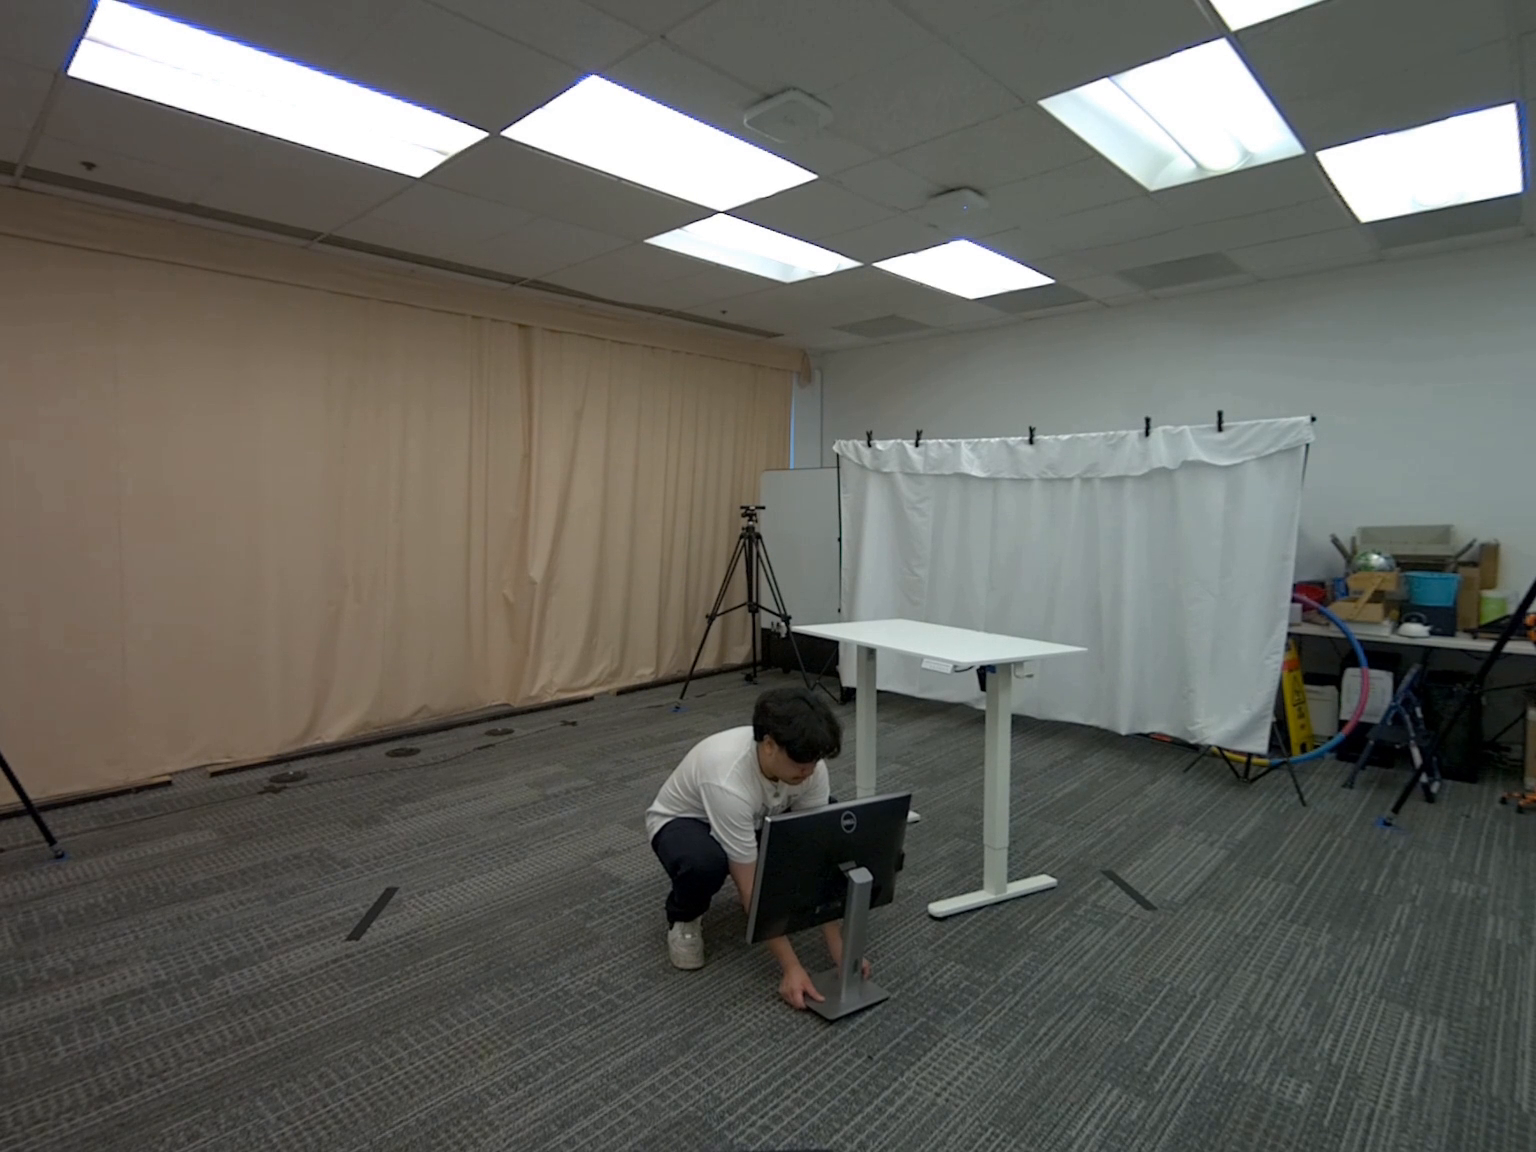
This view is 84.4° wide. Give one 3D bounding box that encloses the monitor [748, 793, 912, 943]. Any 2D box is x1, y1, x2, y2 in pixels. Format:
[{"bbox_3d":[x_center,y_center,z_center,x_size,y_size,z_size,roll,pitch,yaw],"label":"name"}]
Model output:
[{"bbox_3d":[0.221,0.923,2.368,0.547,0.553,0.217,3,5,-37],"label":"monitor"}]
